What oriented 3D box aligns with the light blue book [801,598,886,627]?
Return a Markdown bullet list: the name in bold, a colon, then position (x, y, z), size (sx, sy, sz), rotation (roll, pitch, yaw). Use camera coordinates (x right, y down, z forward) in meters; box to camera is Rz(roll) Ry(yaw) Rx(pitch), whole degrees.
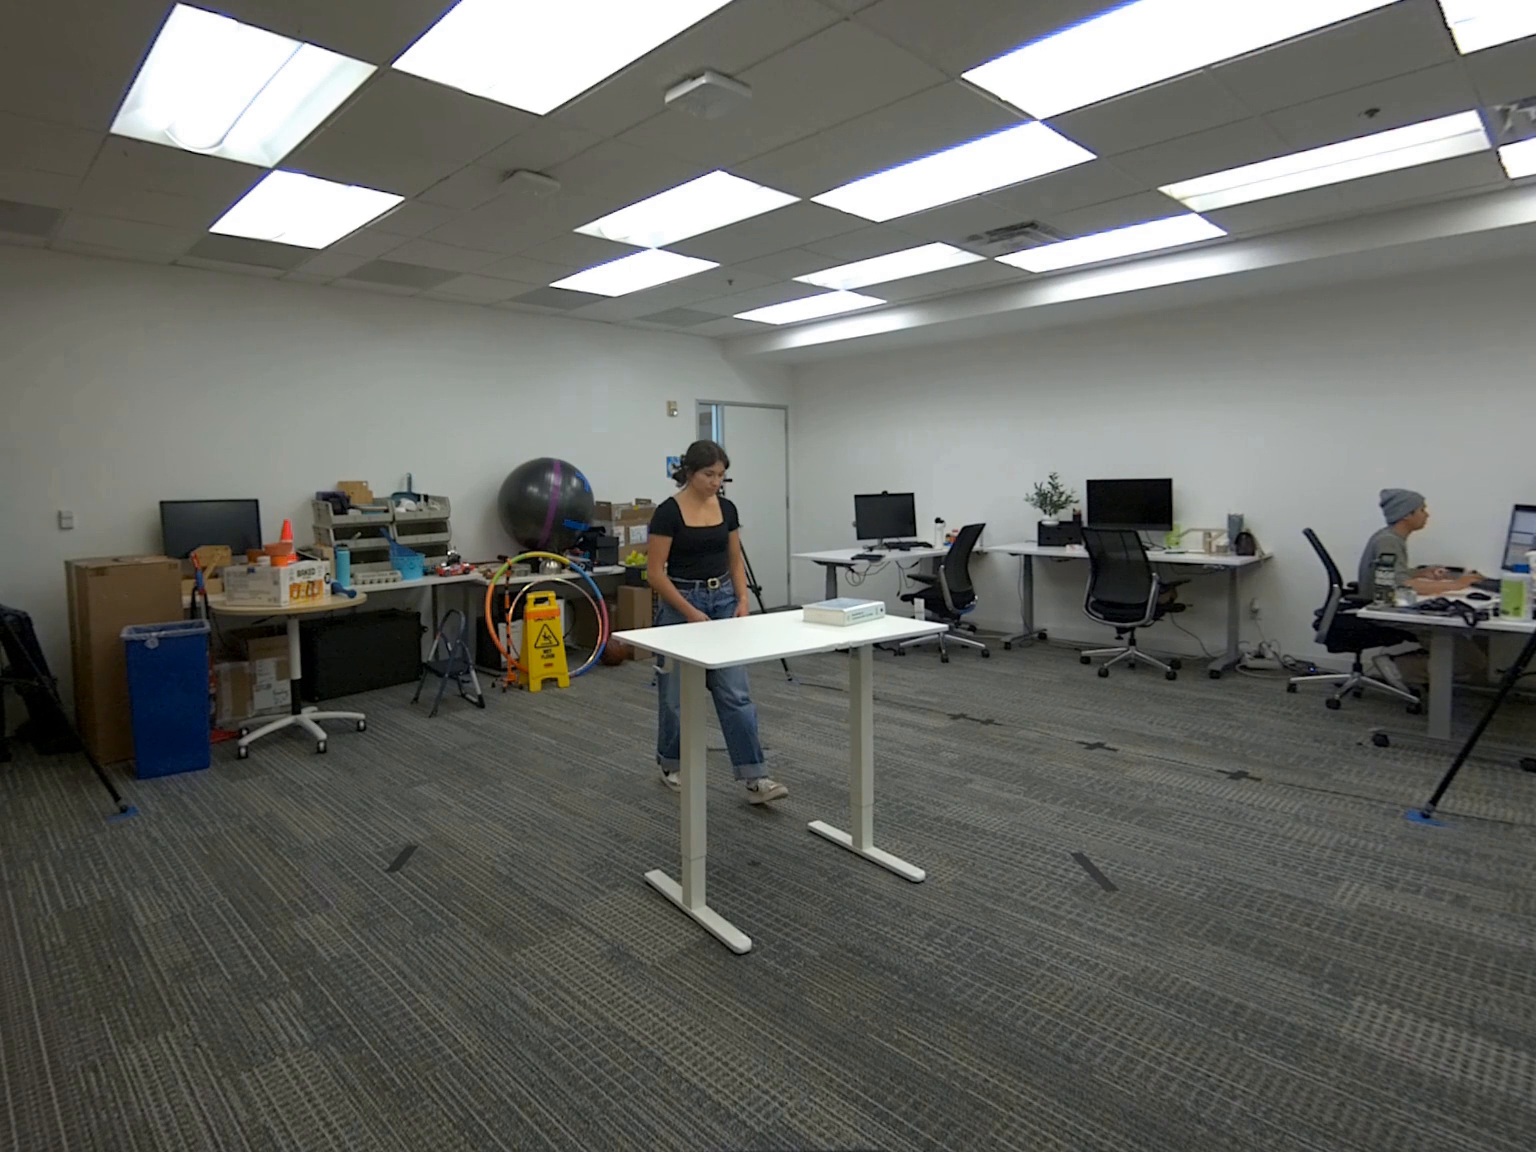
- **light blue book**: position (0.283, 0.131, 3.106), size (0.197, 0.059, 0.254), rotation (5, 8, 40)
